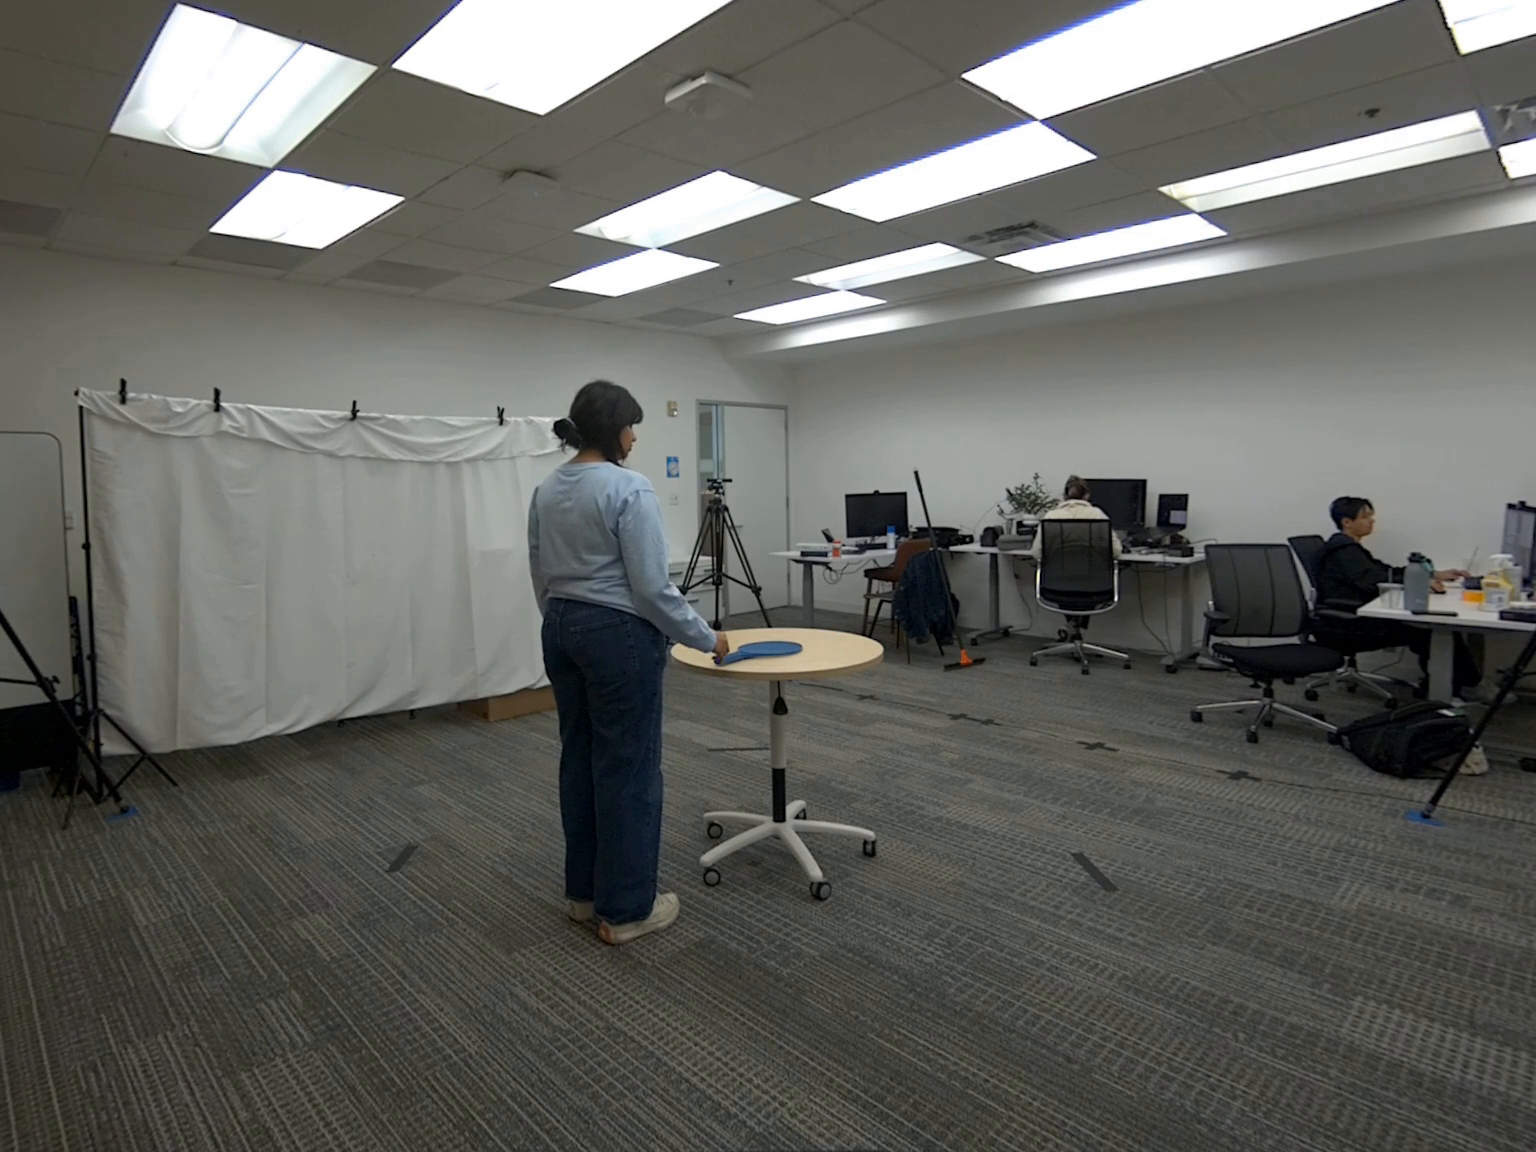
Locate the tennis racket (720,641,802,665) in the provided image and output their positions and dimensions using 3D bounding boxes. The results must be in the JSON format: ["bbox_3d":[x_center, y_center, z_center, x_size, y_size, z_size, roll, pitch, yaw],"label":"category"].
[{"bbox_3d":[-0.040,0.268,2.996,0.220,0.031,0.422,4,7,38],"label":"tennis racket"}]
